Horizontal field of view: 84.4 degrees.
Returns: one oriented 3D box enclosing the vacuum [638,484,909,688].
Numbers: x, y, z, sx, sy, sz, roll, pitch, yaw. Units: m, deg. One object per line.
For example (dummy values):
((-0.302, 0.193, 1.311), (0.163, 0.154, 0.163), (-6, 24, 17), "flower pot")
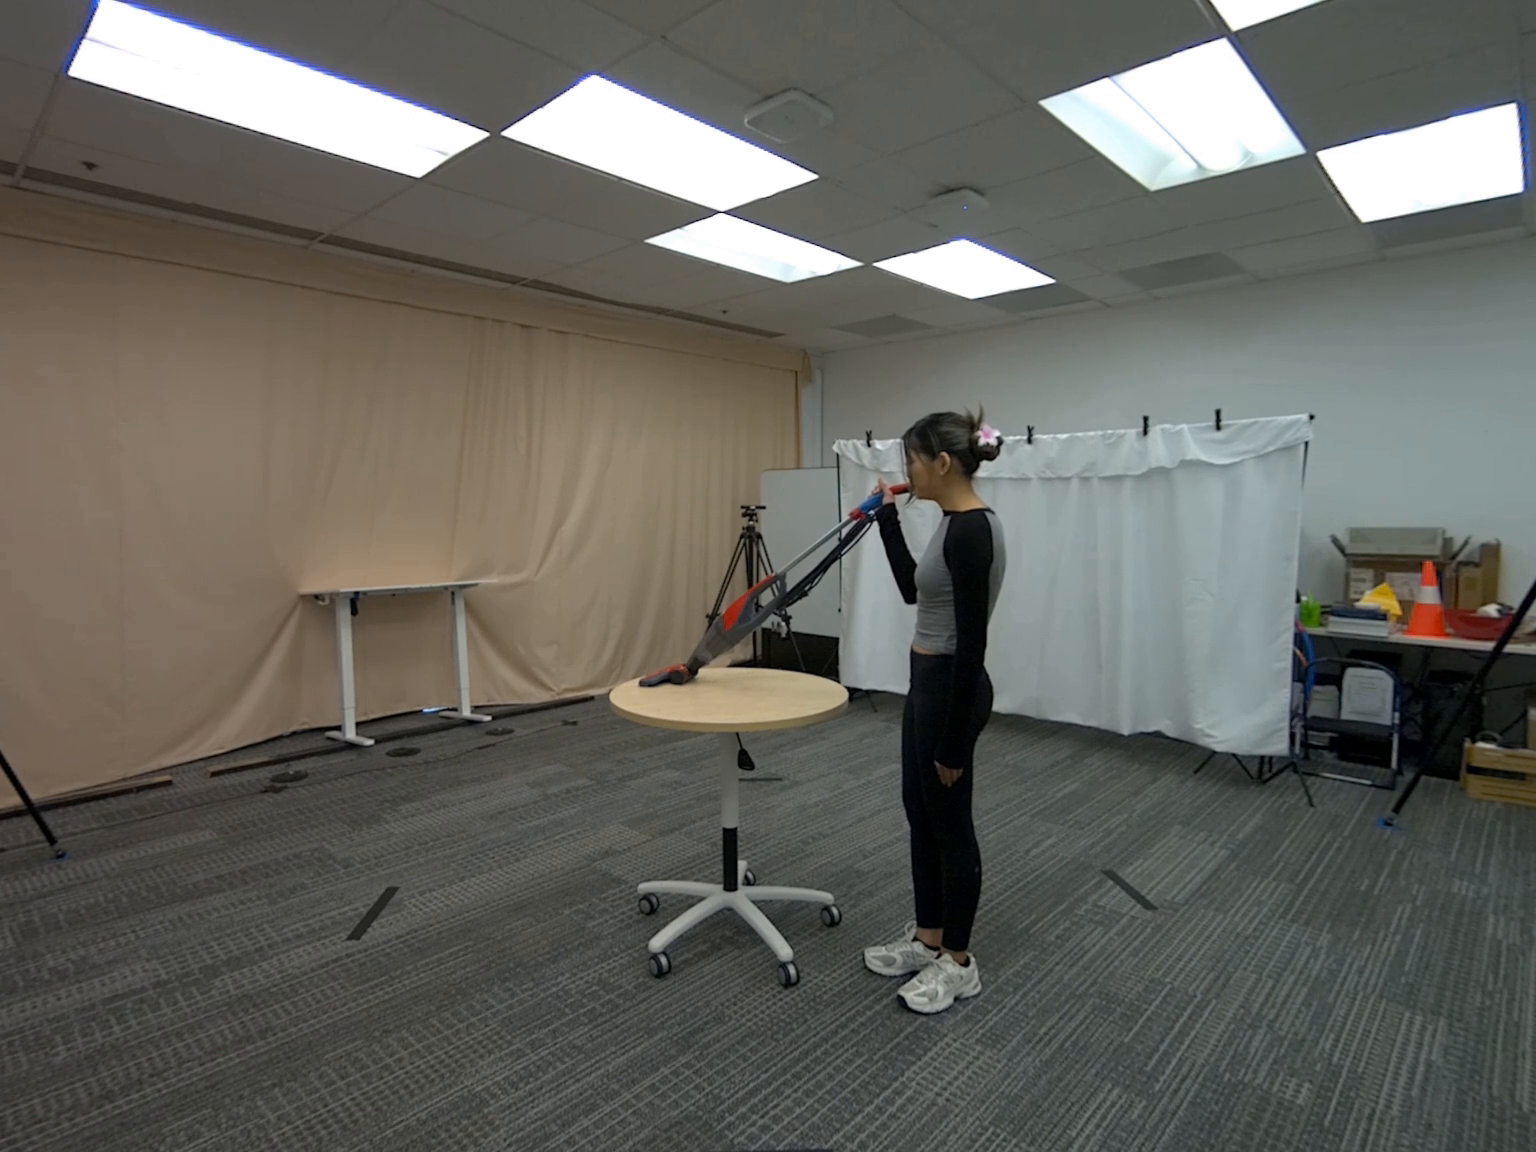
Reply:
((0.050, 0.038, 2.727), (1.058, 0.147, 0.245), (-37, -22, 20), "vacuum")
